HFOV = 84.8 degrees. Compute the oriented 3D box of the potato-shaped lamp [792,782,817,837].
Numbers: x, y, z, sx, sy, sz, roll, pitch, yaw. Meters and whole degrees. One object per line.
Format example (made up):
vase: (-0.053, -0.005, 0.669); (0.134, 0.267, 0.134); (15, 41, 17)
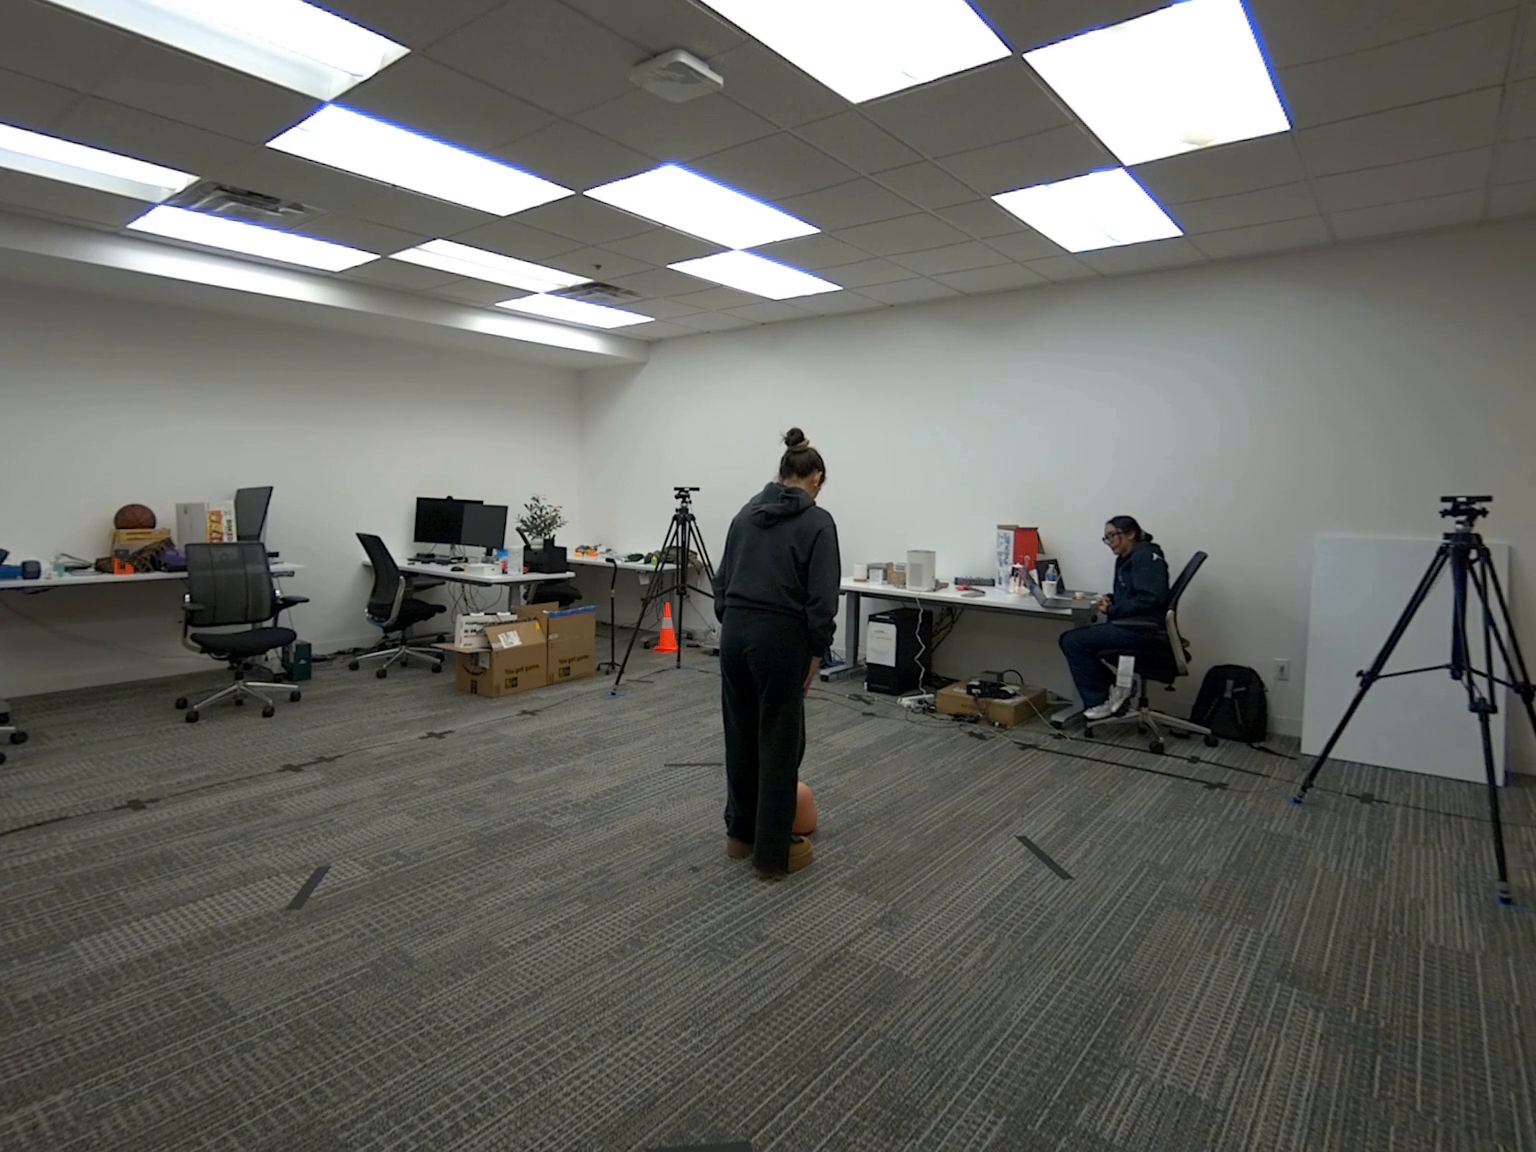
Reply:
potato-shaped lamp: (0.120, 0.935, 3.473); (0.169, 0.197, 0.167); (1, 5, 32)
